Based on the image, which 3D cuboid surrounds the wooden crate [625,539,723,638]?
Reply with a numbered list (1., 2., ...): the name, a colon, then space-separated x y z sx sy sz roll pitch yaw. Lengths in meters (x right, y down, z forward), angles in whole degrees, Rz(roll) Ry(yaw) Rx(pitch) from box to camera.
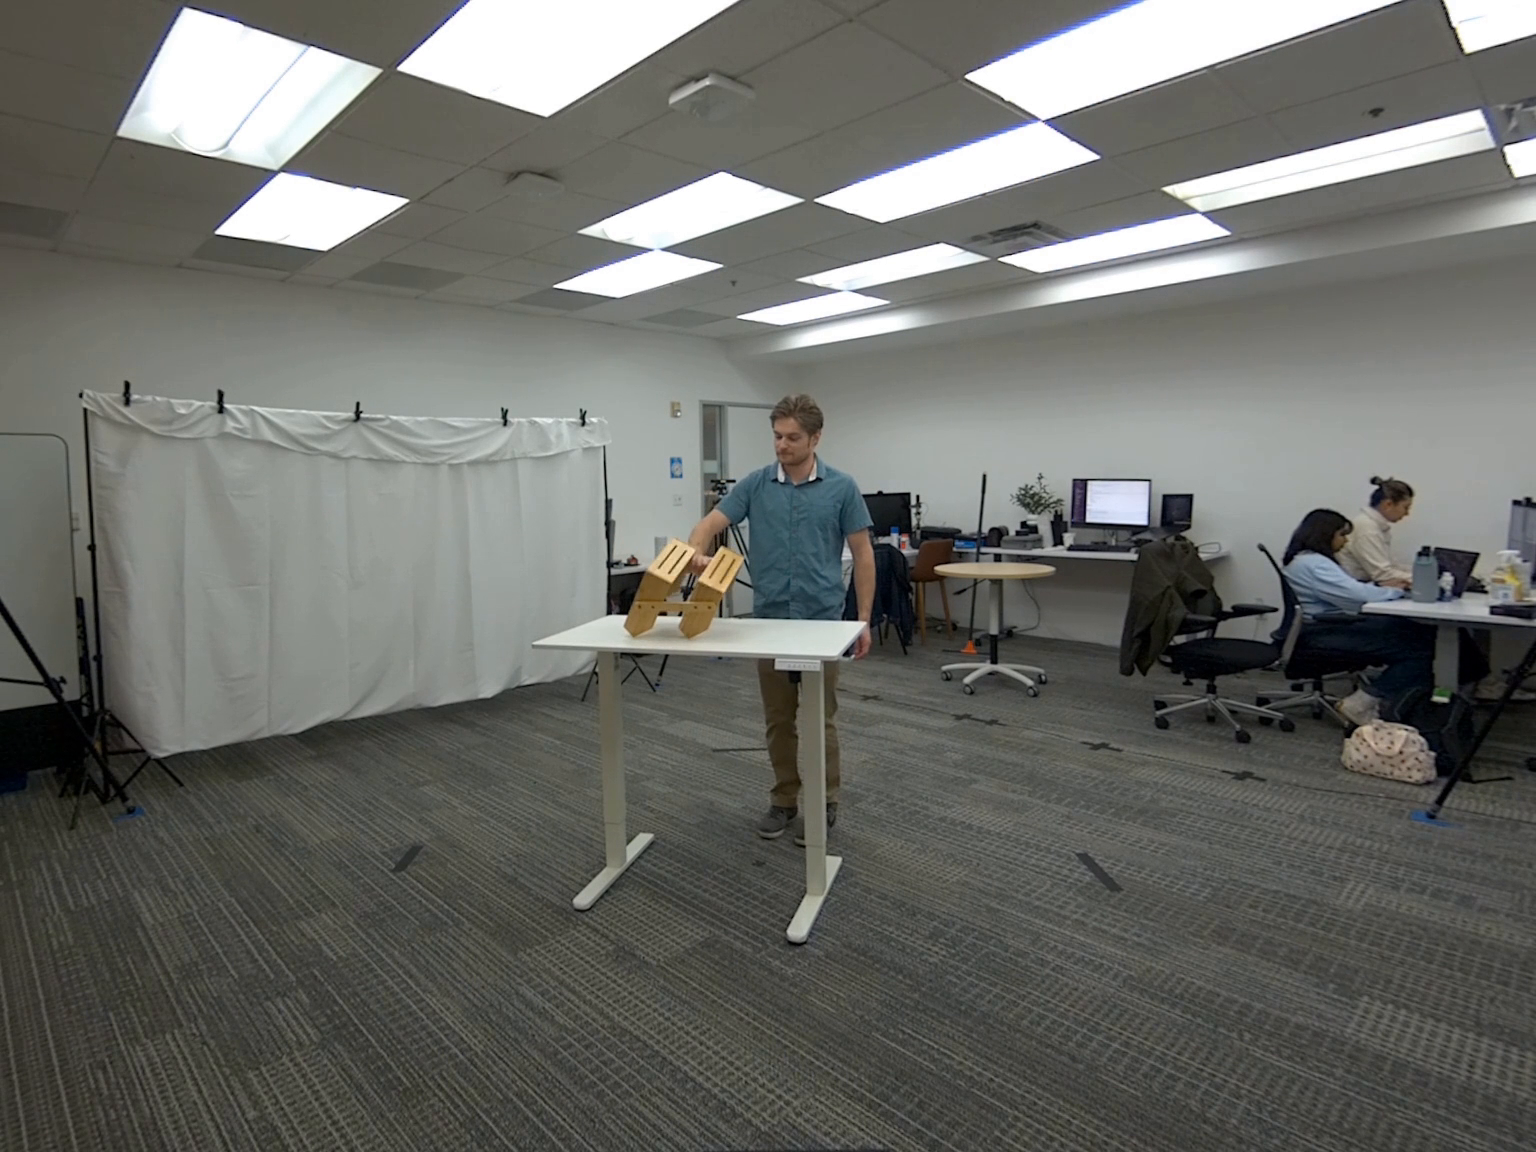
1. wooden crate: -0.276 0.065 2.900 0.274 0.299 0.327 26 26 1
